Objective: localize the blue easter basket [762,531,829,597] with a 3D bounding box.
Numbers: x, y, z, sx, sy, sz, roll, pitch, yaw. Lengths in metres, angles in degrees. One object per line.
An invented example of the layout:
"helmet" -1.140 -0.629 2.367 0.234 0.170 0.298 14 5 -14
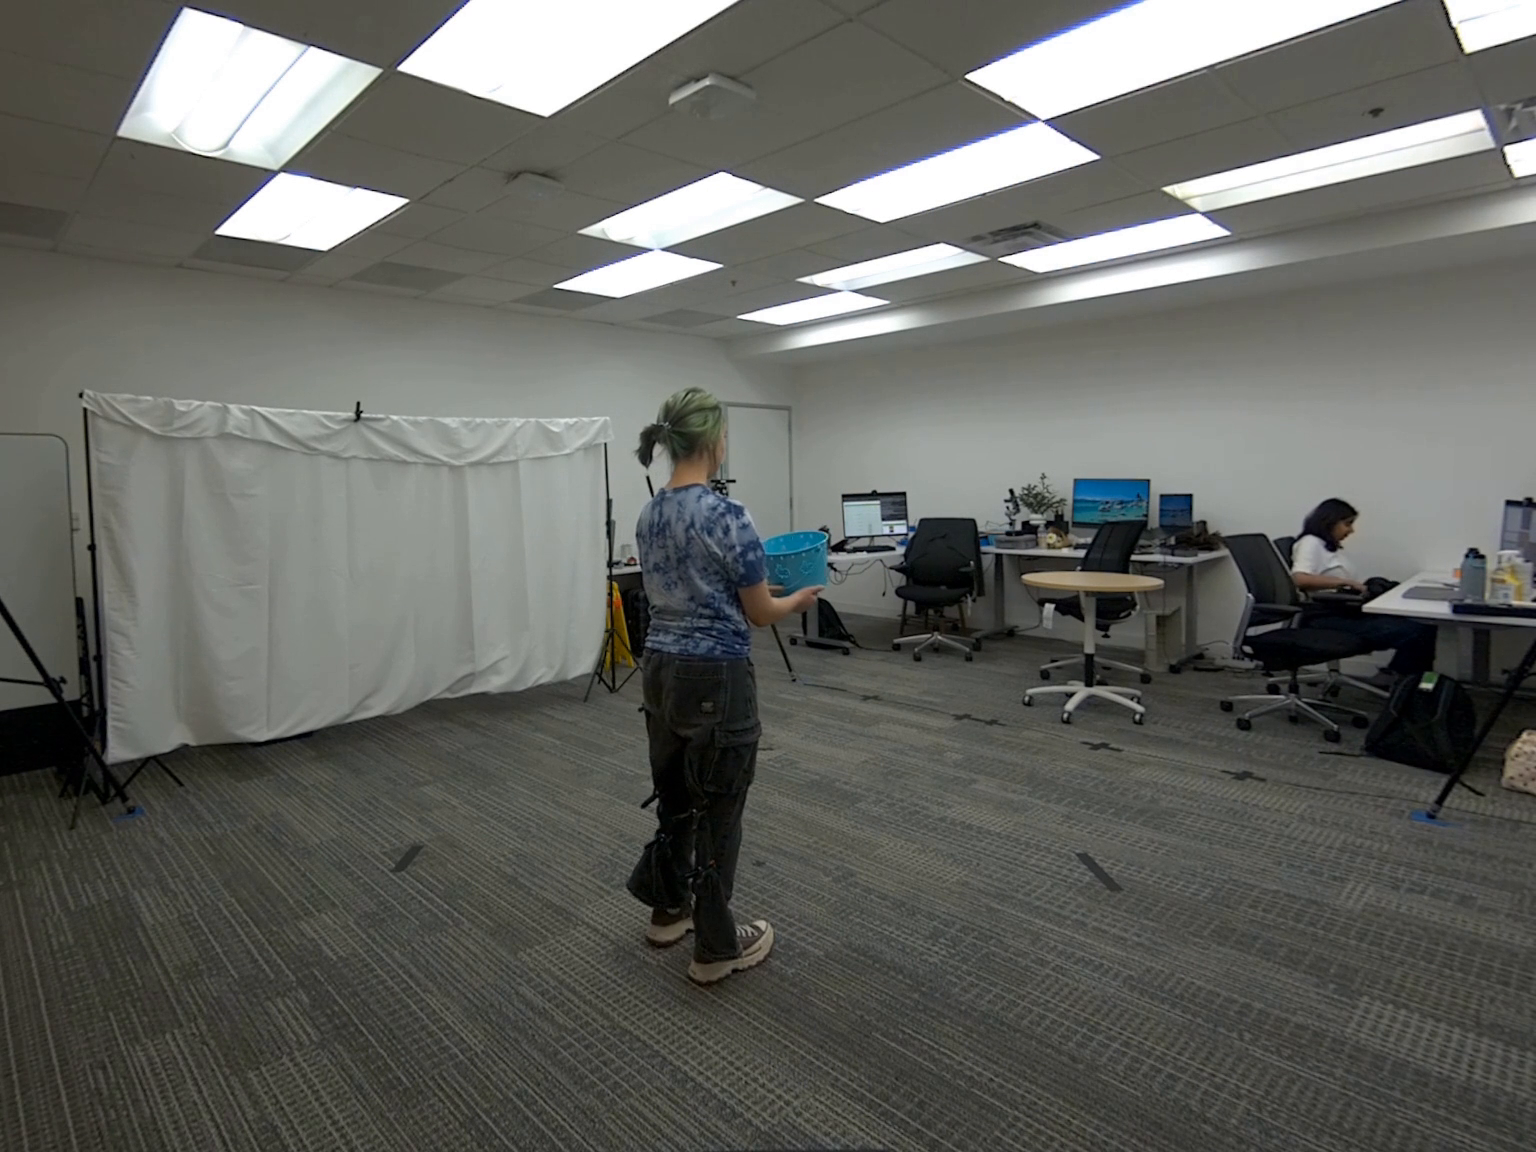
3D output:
"blue easter basket" 0.071 -0.030 2.675 0.244 0.153 0.247 -8 16 0
